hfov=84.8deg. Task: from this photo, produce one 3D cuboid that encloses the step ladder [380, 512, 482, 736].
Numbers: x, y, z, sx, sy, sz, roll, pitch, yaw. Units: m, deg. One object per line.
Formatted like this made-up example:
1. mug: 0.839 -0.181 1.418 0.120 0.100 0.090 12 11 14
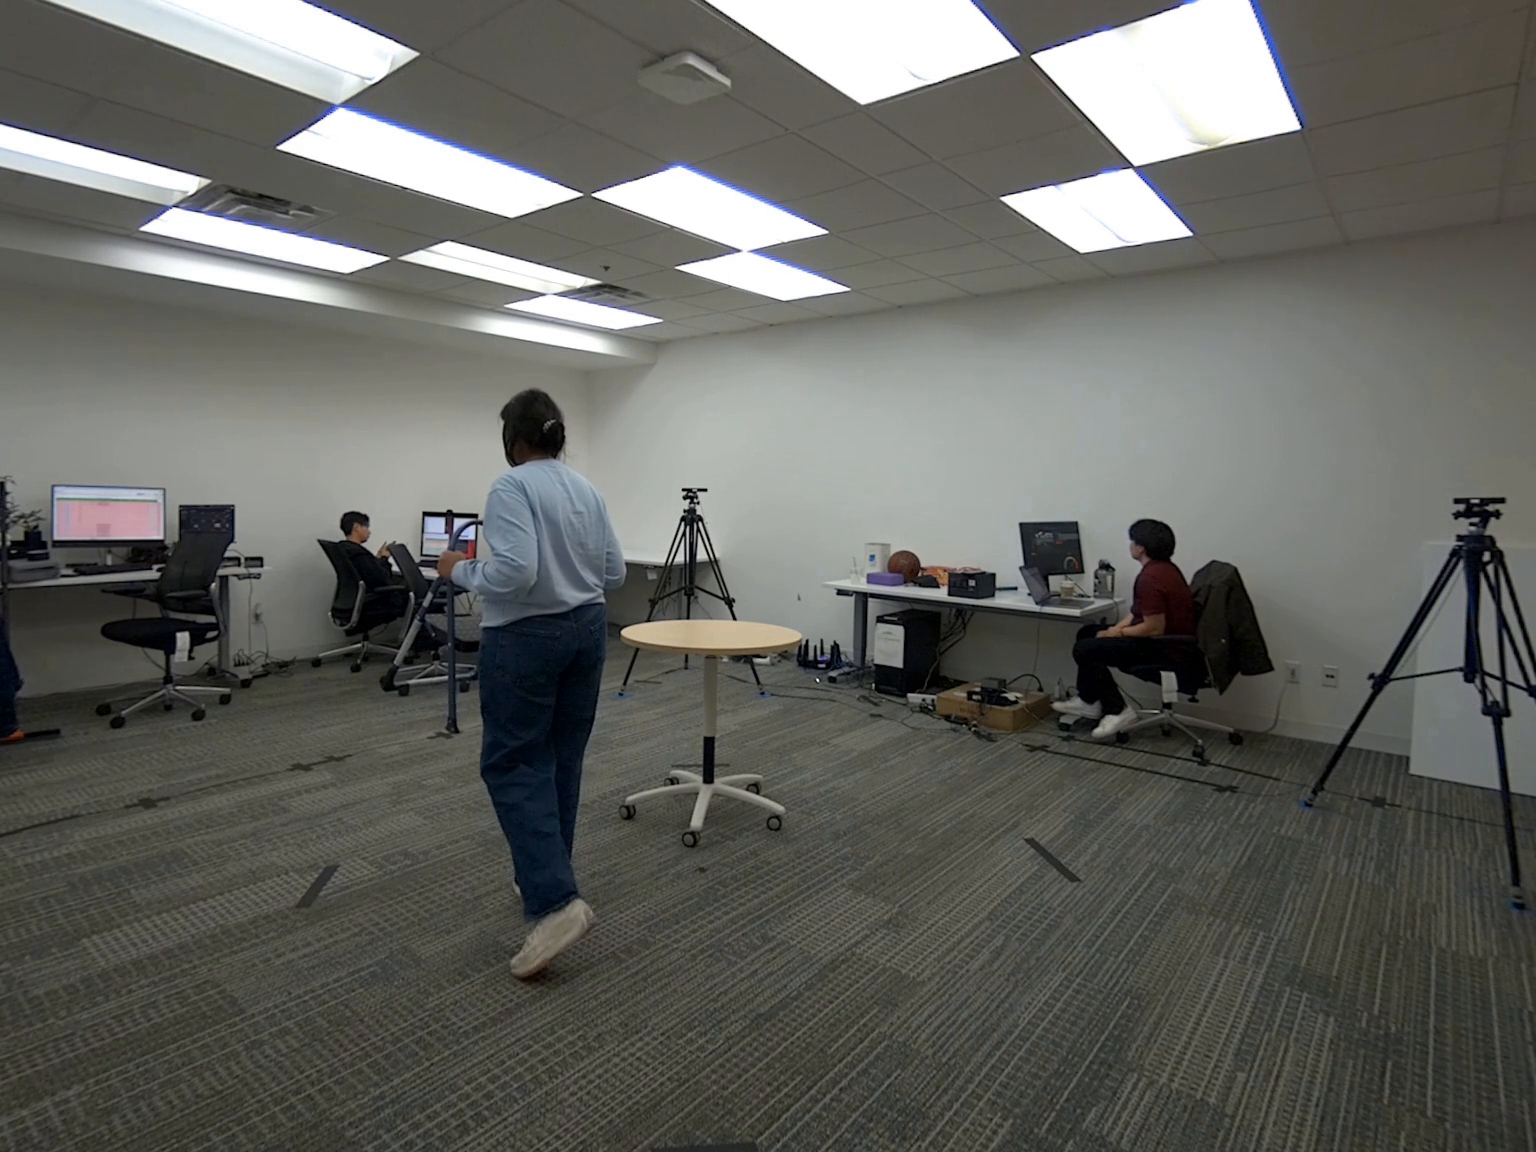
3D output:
1. step ladder: -0.932 0.132 2.778 0.360 0.604 0.419 18 7 24
